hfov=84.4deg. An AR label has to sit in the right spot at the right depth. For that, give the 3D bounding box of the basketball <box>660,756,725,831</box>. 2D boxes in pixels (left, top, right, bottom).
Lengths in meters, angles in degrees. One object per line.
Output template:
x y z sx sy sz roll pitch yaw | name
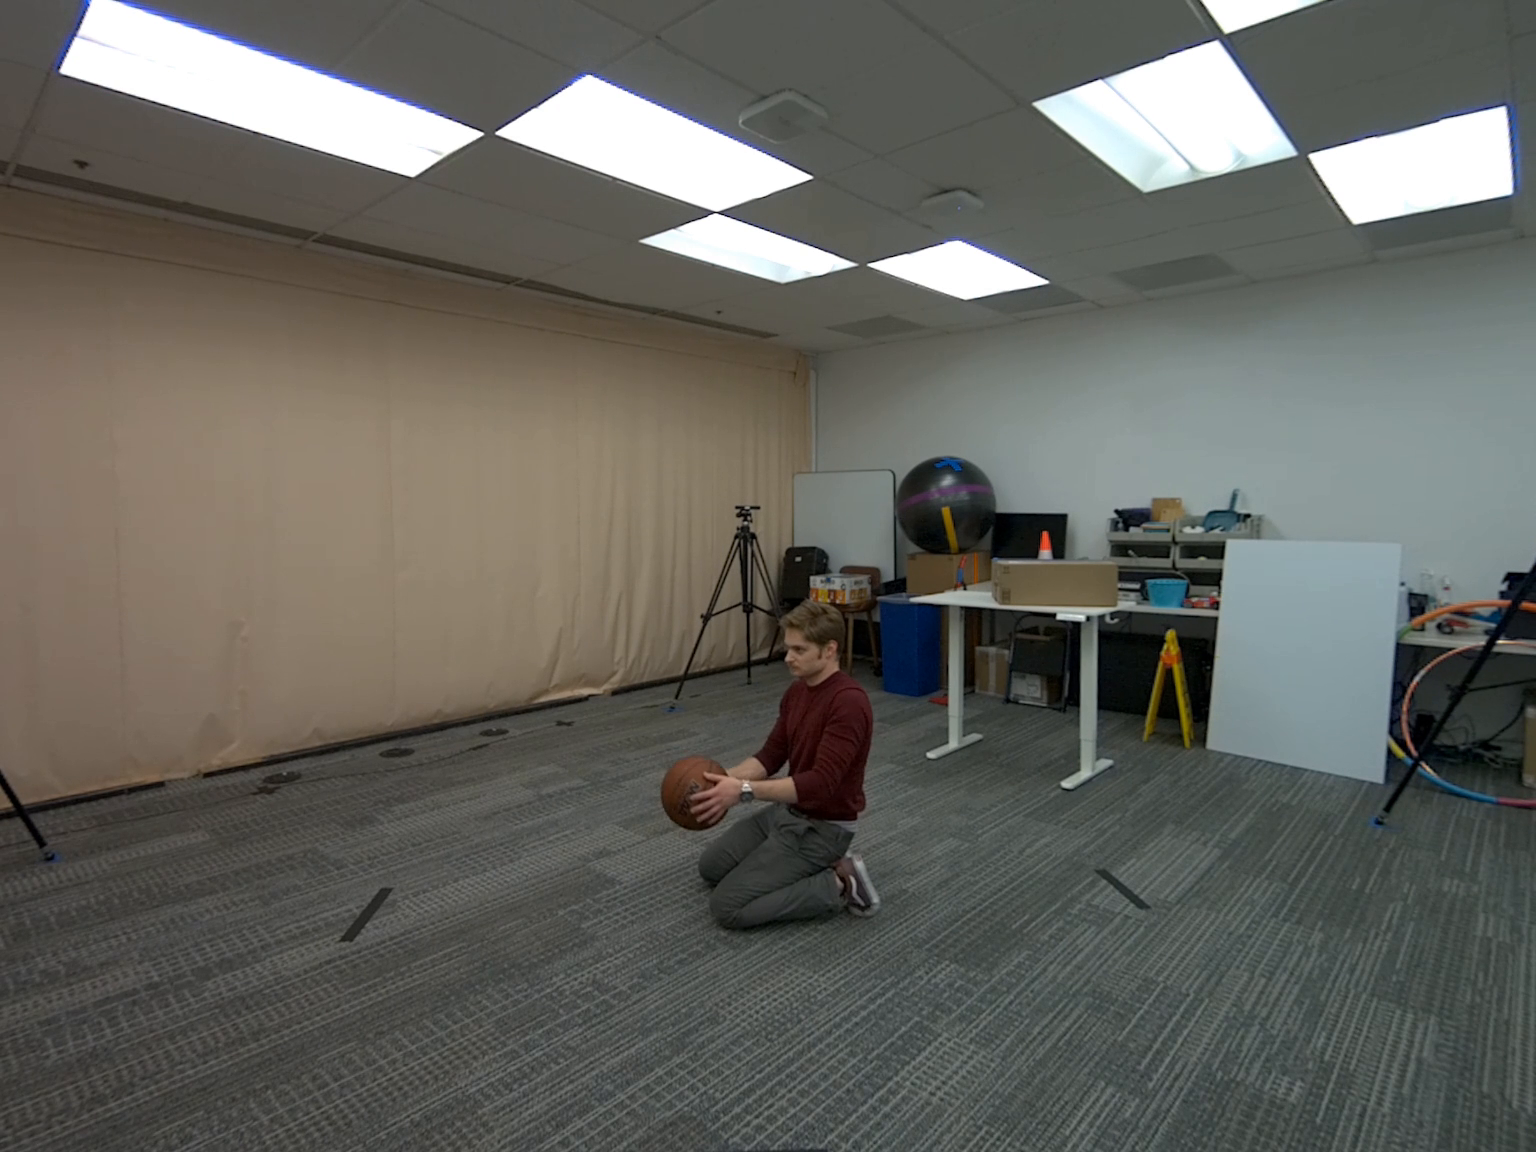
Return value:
-0.223 0.724 2.792 0.236 0.235 0.237 0 4 -2 | basketball
